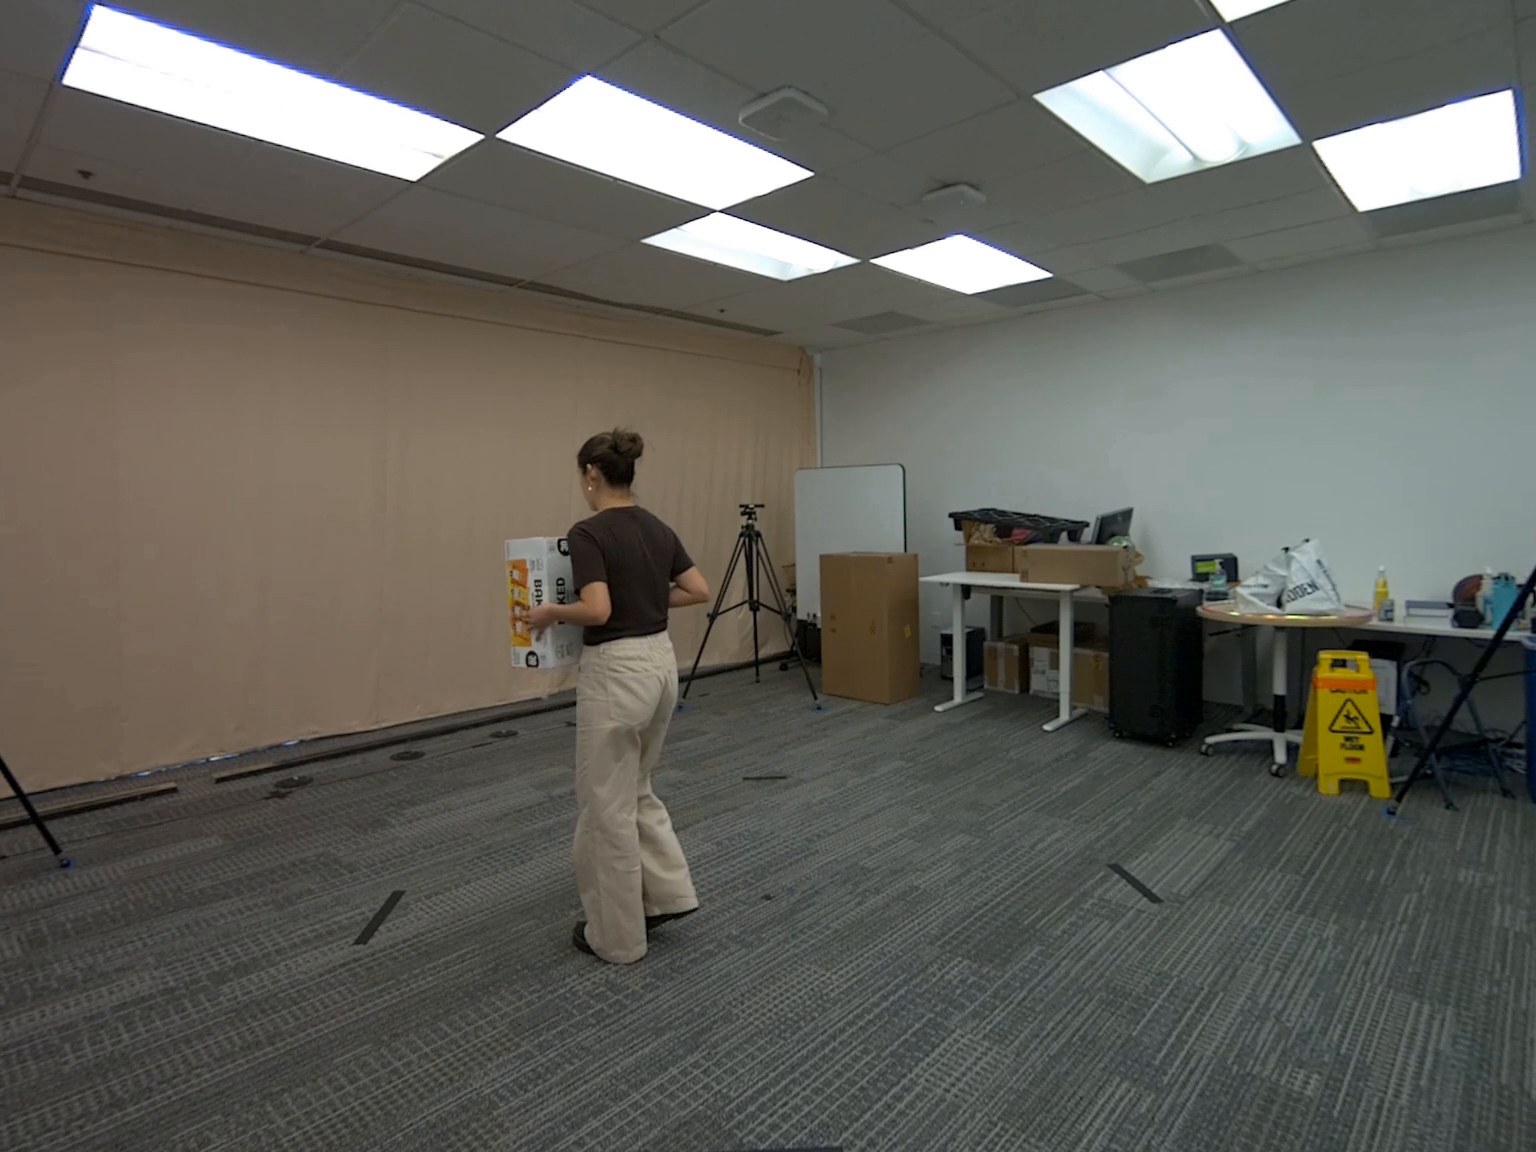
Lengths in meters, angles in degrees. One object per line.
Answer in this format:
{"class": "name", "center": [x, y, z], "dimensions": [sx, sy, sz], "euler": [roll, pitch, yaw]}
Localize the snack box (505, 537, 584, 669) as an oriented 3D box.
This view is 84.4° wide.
{"class": "snack box", "center": [-0.653, 0.079, 2.772], "dimensions": [0.212, 0.405, 0.330], "euler": [-5, -1, 37]}
